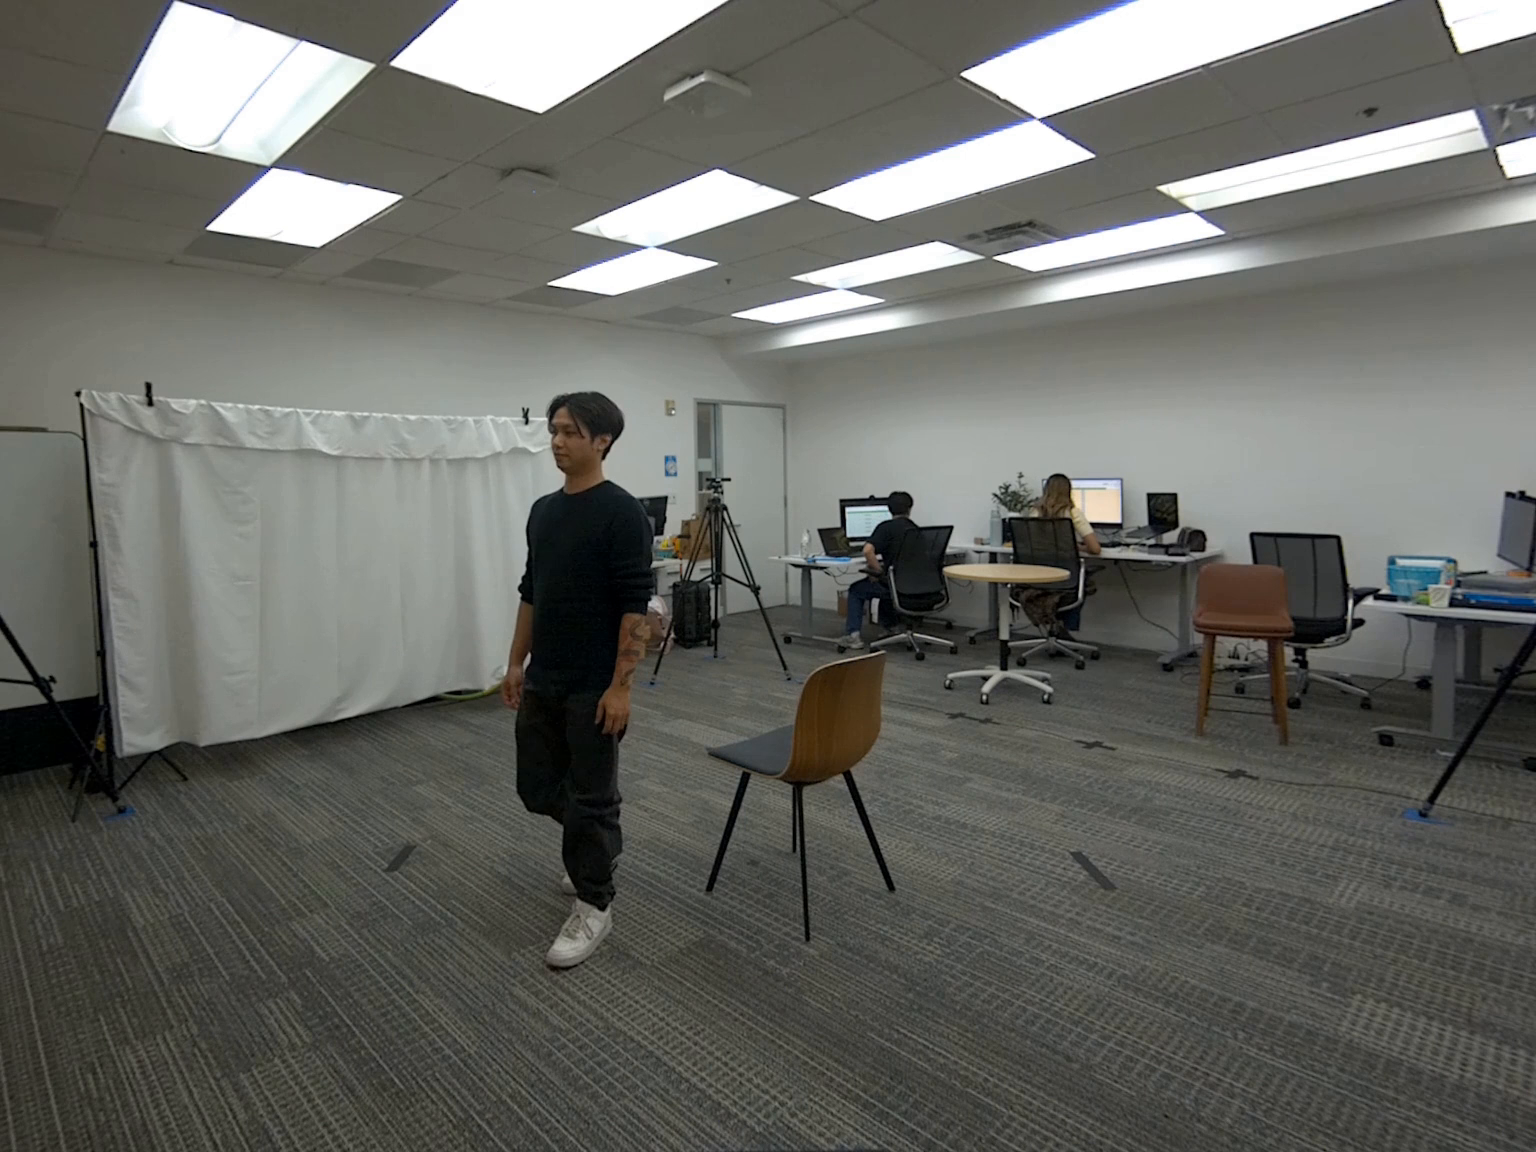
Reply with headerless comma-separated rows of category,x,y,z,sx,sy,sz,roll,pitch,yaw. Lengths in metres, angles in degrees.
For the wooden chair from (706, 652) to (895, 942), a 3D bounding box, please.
wooden chair,0.099,0.642,2.862,0.540,0.872,0.465,9,11,44
